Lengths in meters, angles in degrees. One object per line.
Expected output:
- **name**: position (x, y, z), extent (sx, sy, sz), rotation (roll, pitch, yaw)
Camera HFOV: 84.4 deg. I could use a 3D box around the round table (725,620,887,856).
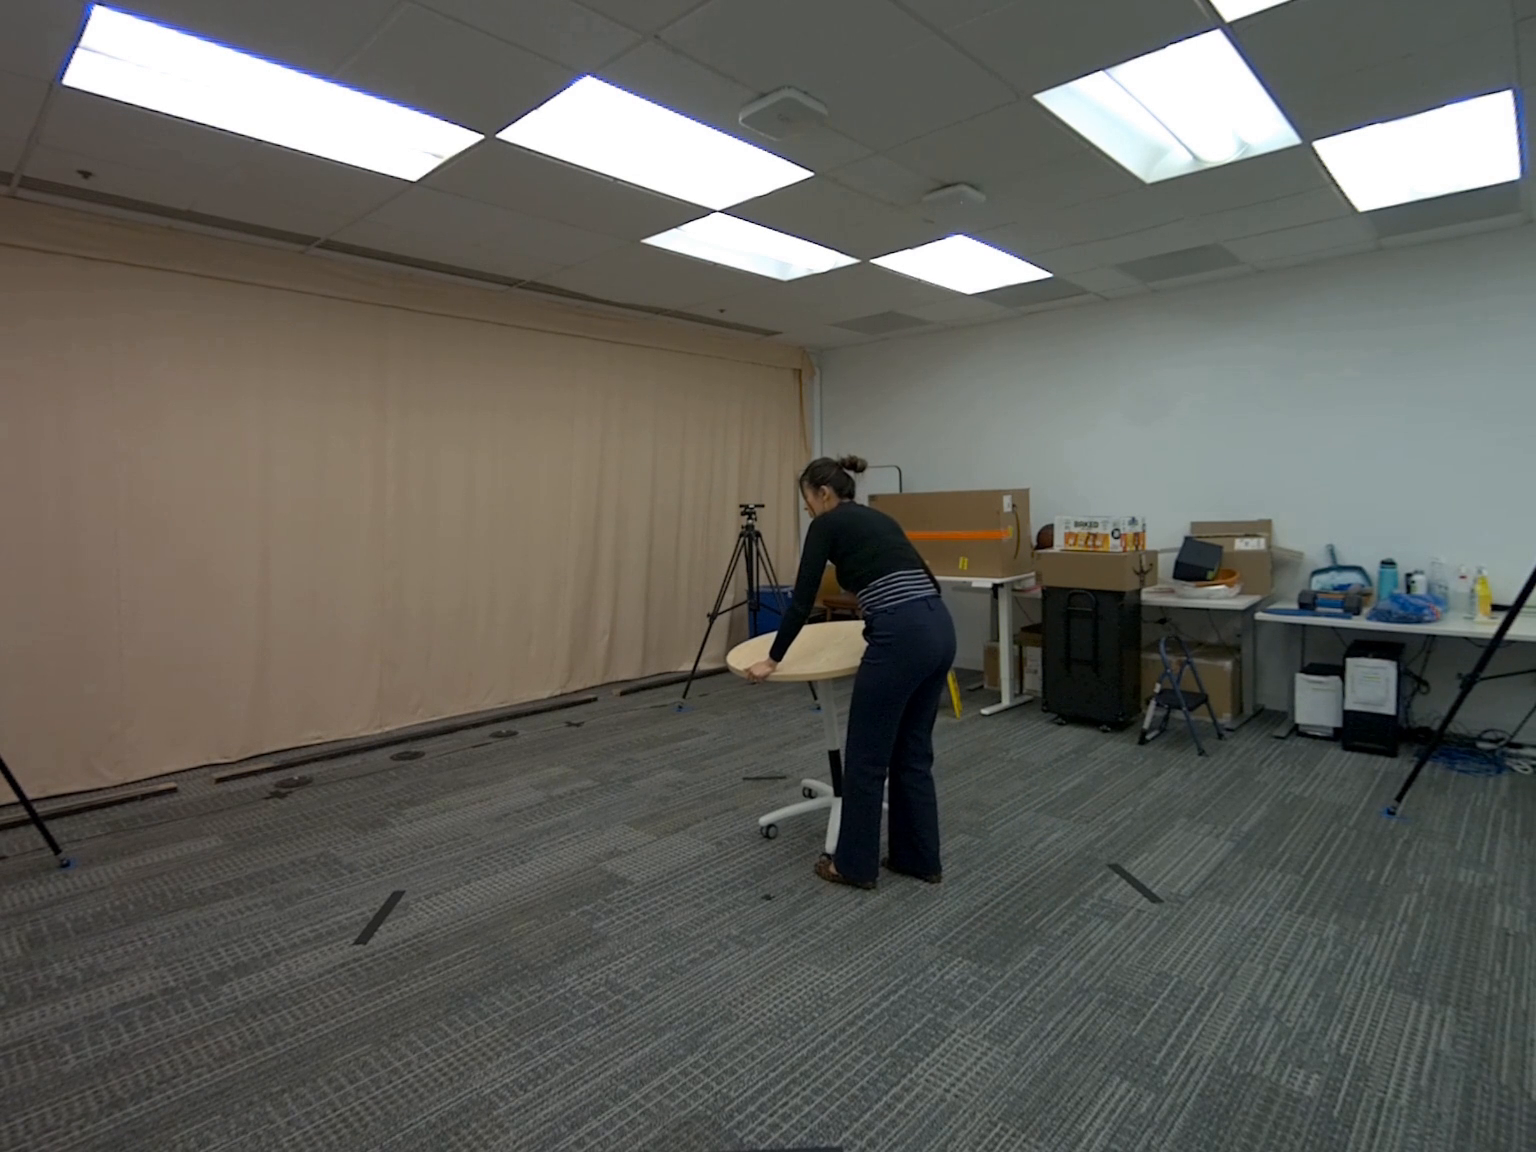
- **round table**: position (0.266, 0.669, 3.471), extent (0.764, 0.789, 0.768), rotation (-8, 8, -1)
